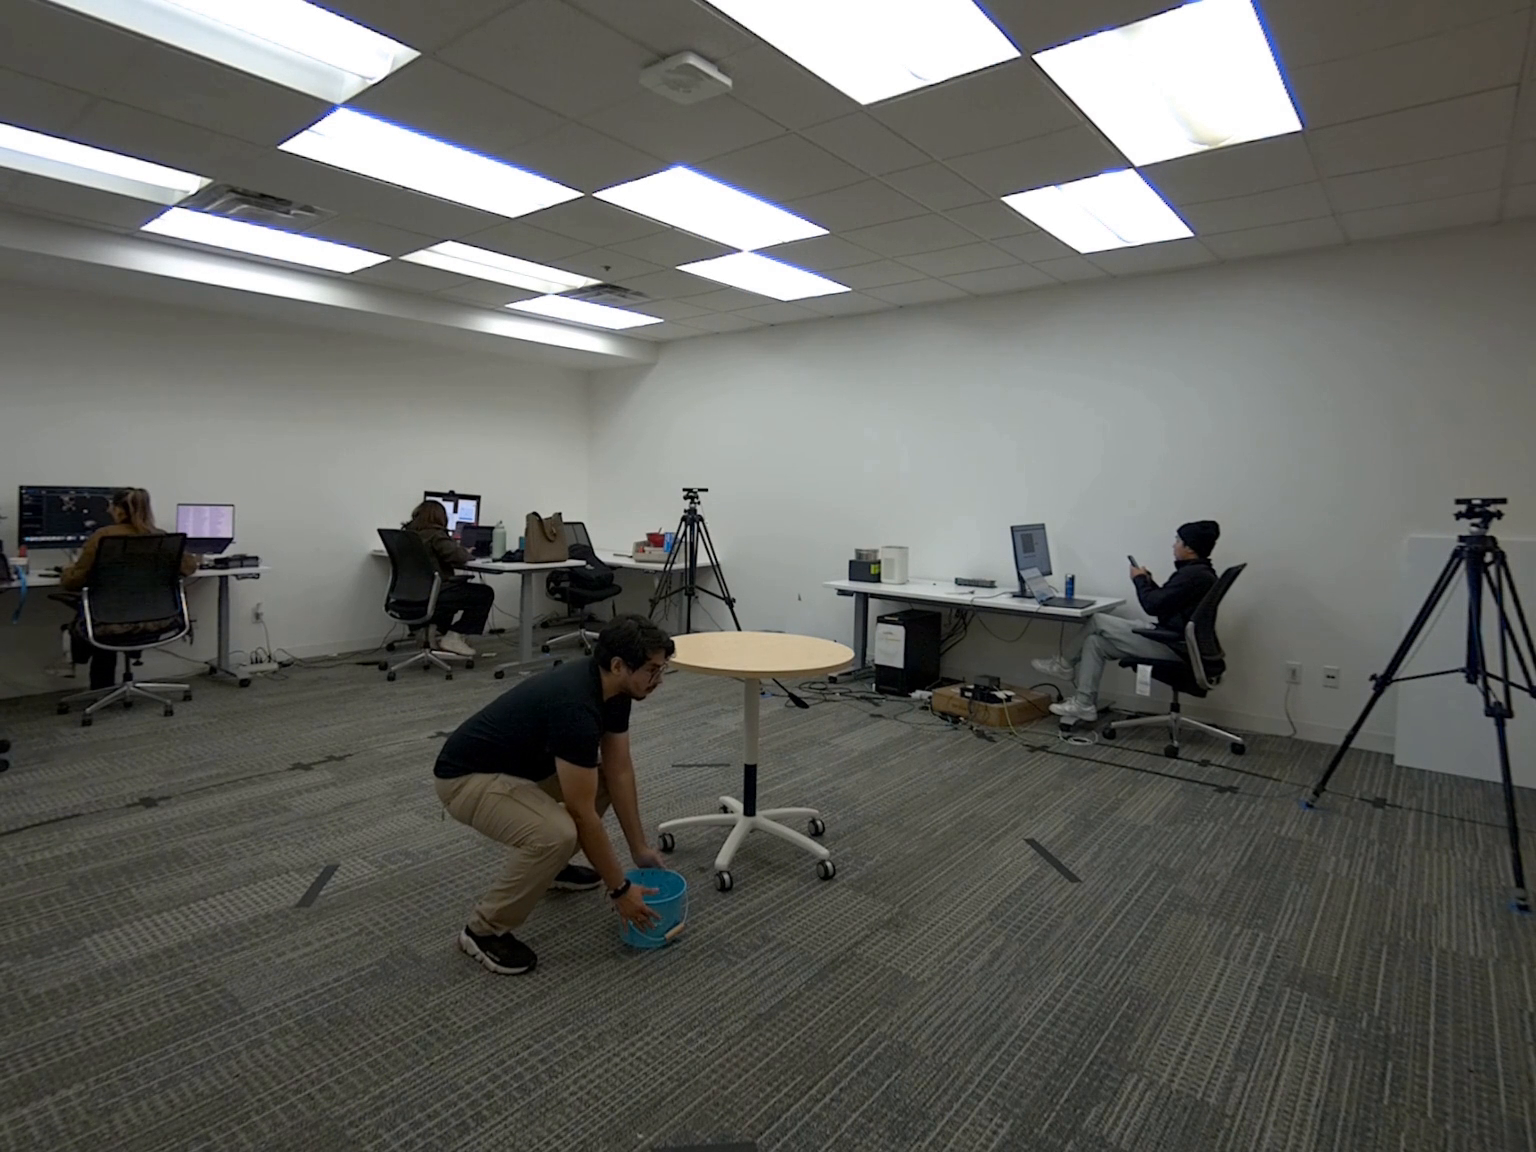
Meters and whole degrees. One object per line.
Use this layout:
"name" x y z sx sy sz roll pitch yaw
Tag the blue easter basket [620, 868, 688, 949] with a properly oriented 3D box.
"blue easter basket" -0.381 1.041 2.644 0.243 0.155 0.245 1 6 -2
